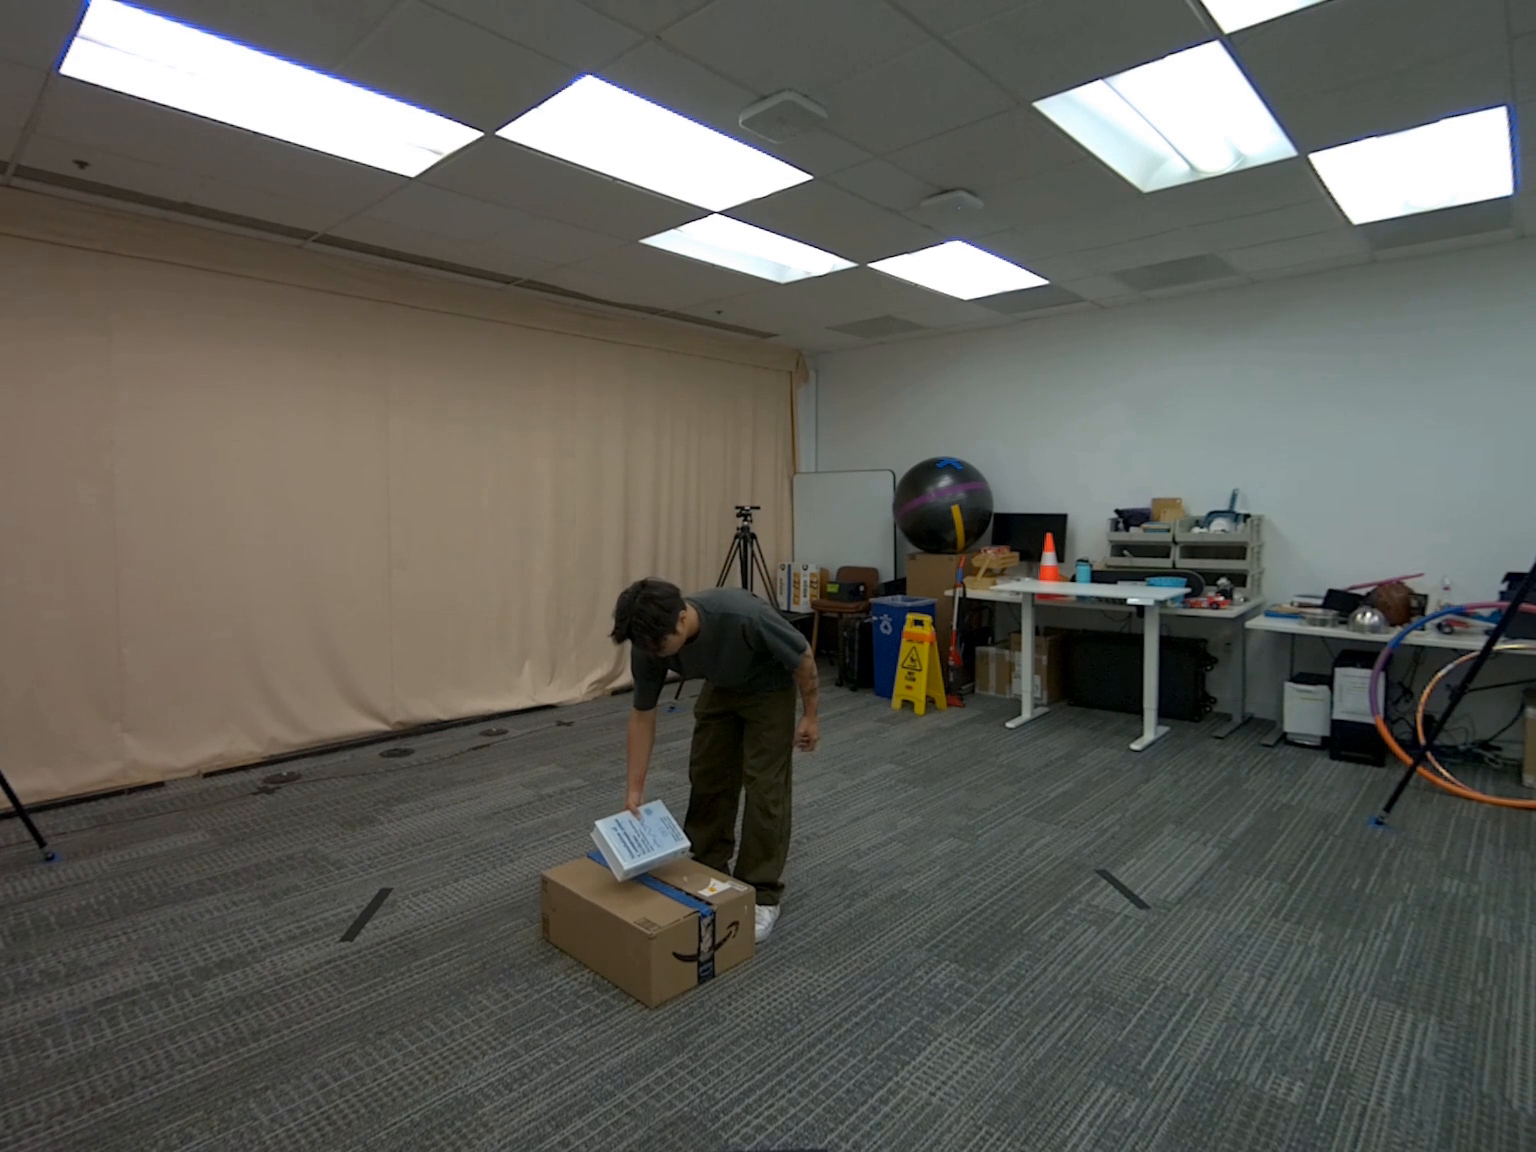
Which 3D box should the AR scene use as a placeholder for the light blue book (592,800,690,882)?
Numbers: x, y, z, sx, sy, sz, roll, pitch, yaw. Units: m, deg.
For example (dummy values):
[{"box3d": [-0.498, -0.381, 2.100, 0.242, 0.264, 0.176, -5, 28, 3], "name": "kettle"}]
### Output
[{"box3d": [-0.404, 0.826, 2.655, 0.253, 0.059, 0.198, -6, 40, -43], "name": "light blue book"}]
